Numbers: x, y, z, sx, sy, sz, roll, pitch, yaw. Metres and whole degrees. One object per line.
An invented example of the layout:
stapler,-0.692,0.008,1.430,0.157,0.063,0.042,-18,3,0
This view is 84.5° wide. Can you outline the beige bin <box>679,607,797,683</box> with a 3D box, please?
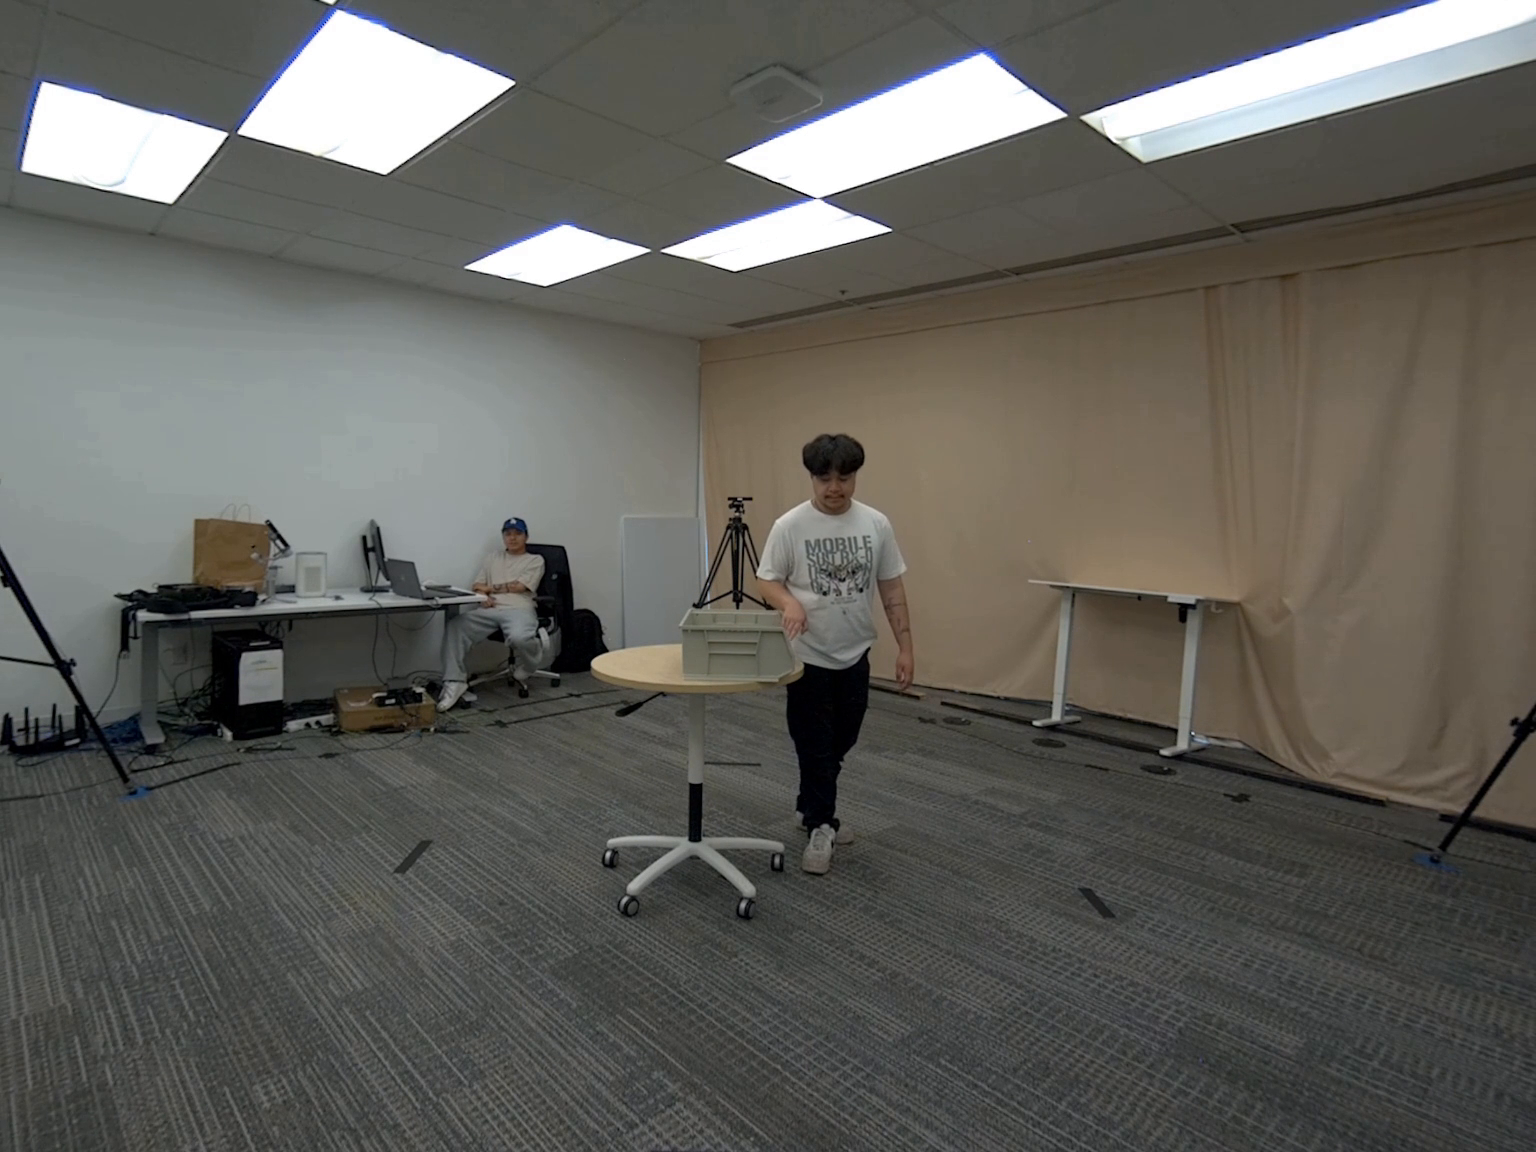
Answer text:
beige bin,-0.106,0.235,2.925,0.377,0.188,0.423,0,4,0
